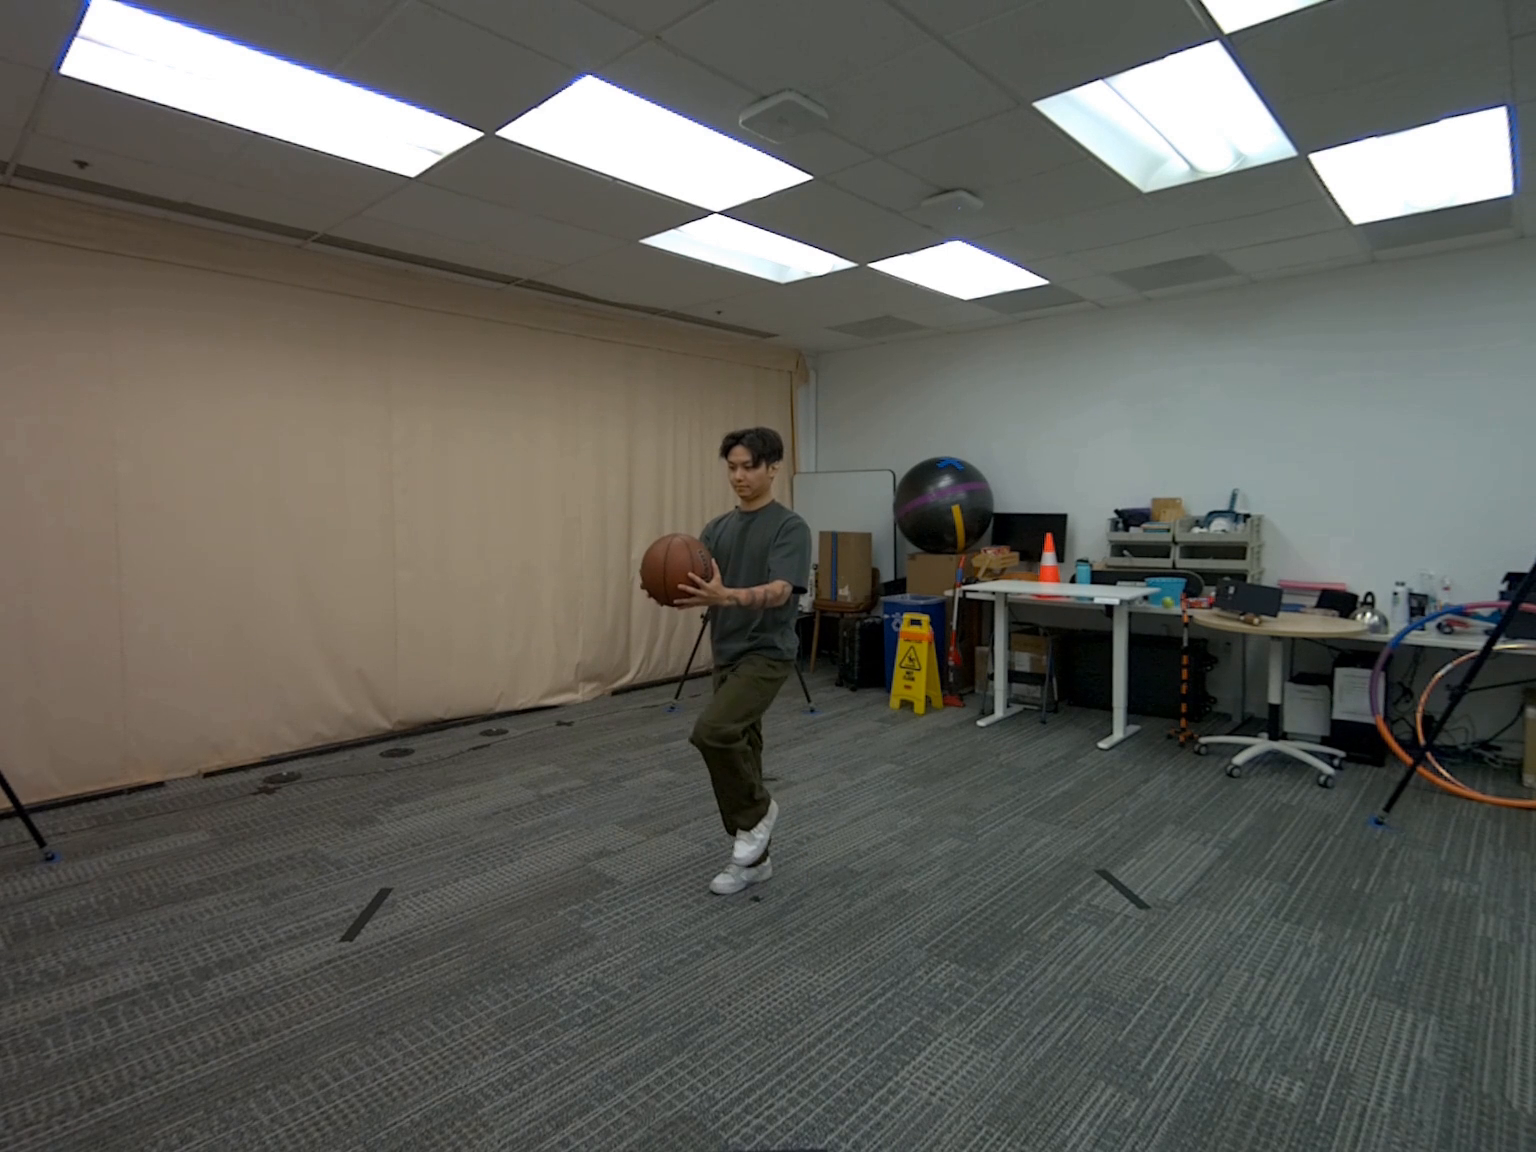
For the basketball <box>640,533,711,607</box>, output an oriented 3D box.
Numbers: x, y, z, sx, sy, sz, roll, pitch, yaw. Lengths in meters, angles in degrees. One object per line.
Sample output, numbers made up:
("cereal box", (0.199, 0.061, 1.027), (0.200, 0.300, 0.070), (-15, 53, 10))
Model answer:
("basketball", (-0.289, -0.018, 2.716), (0.236, 0.235, 0.237), (0, 4, -2))
